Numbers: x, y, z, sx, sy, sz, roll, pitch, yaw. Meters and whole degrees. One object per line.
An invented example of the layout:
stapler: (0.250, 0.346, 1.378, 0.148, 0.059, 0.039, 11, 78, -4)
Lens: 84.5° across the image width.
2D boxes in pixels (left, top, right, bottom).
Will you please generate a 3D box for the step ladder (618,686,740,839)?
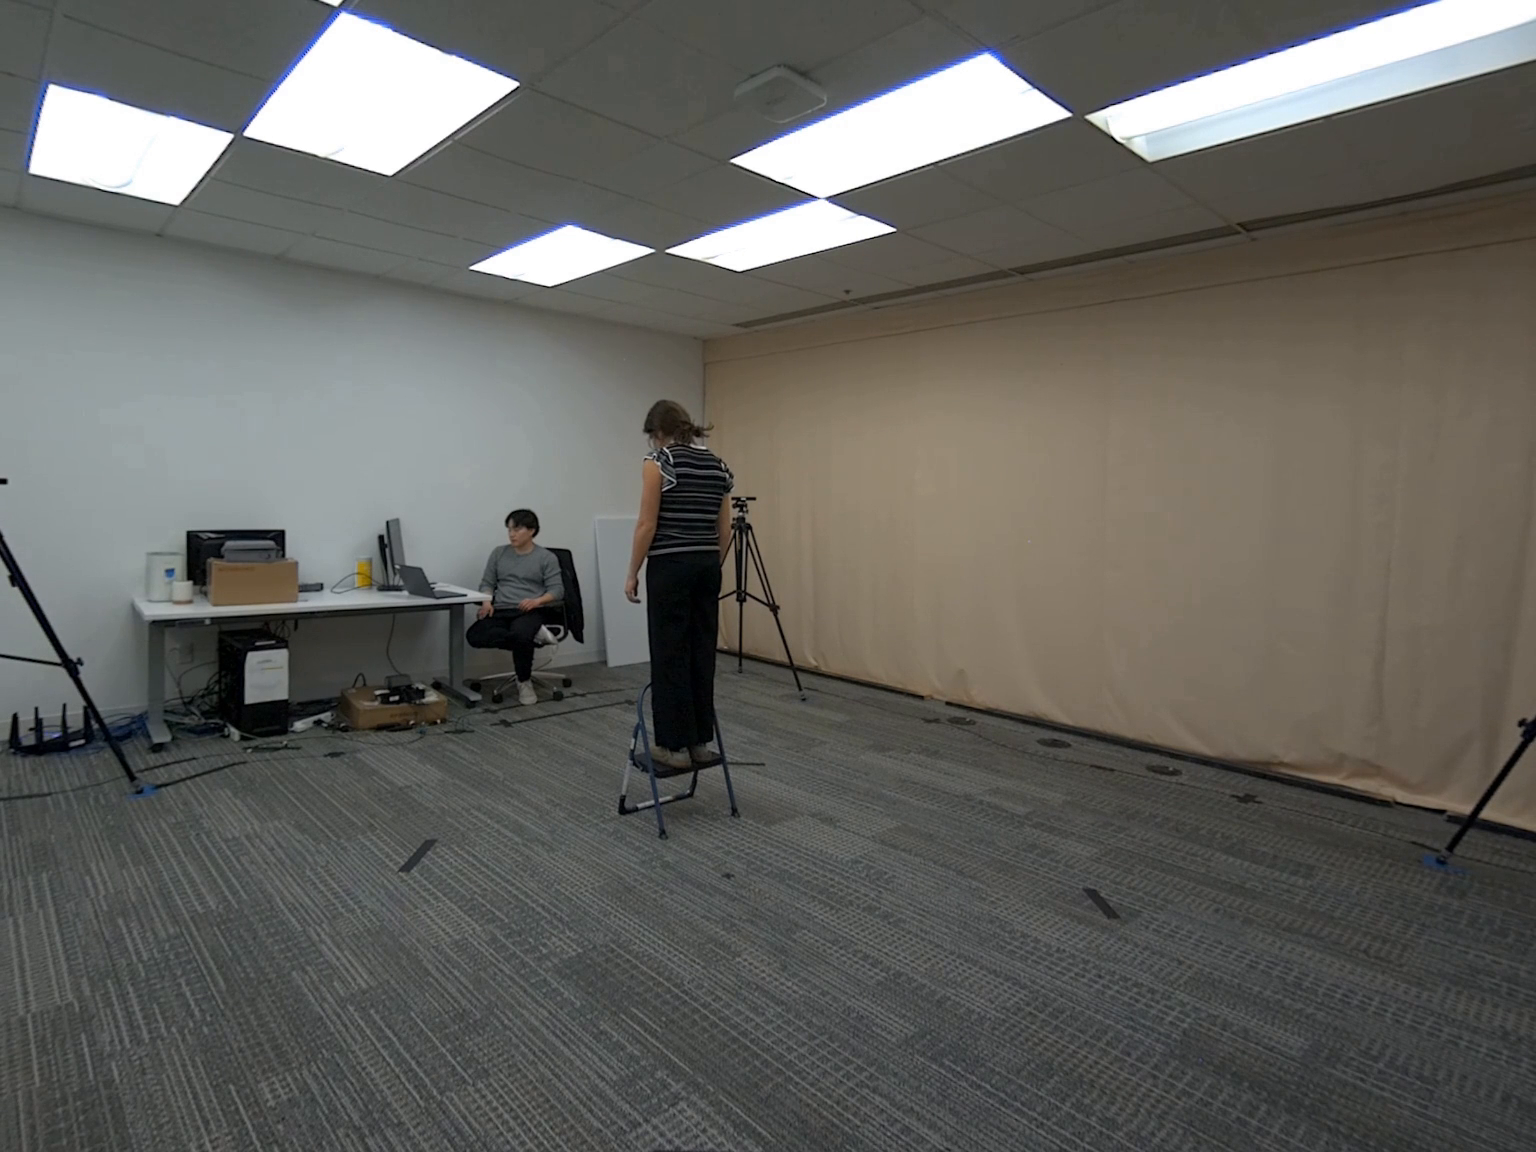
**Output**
step ladder: (-0.392, 0.749, 3.679, 0.420, 0.605, 0.358, -1, 4, -43)
